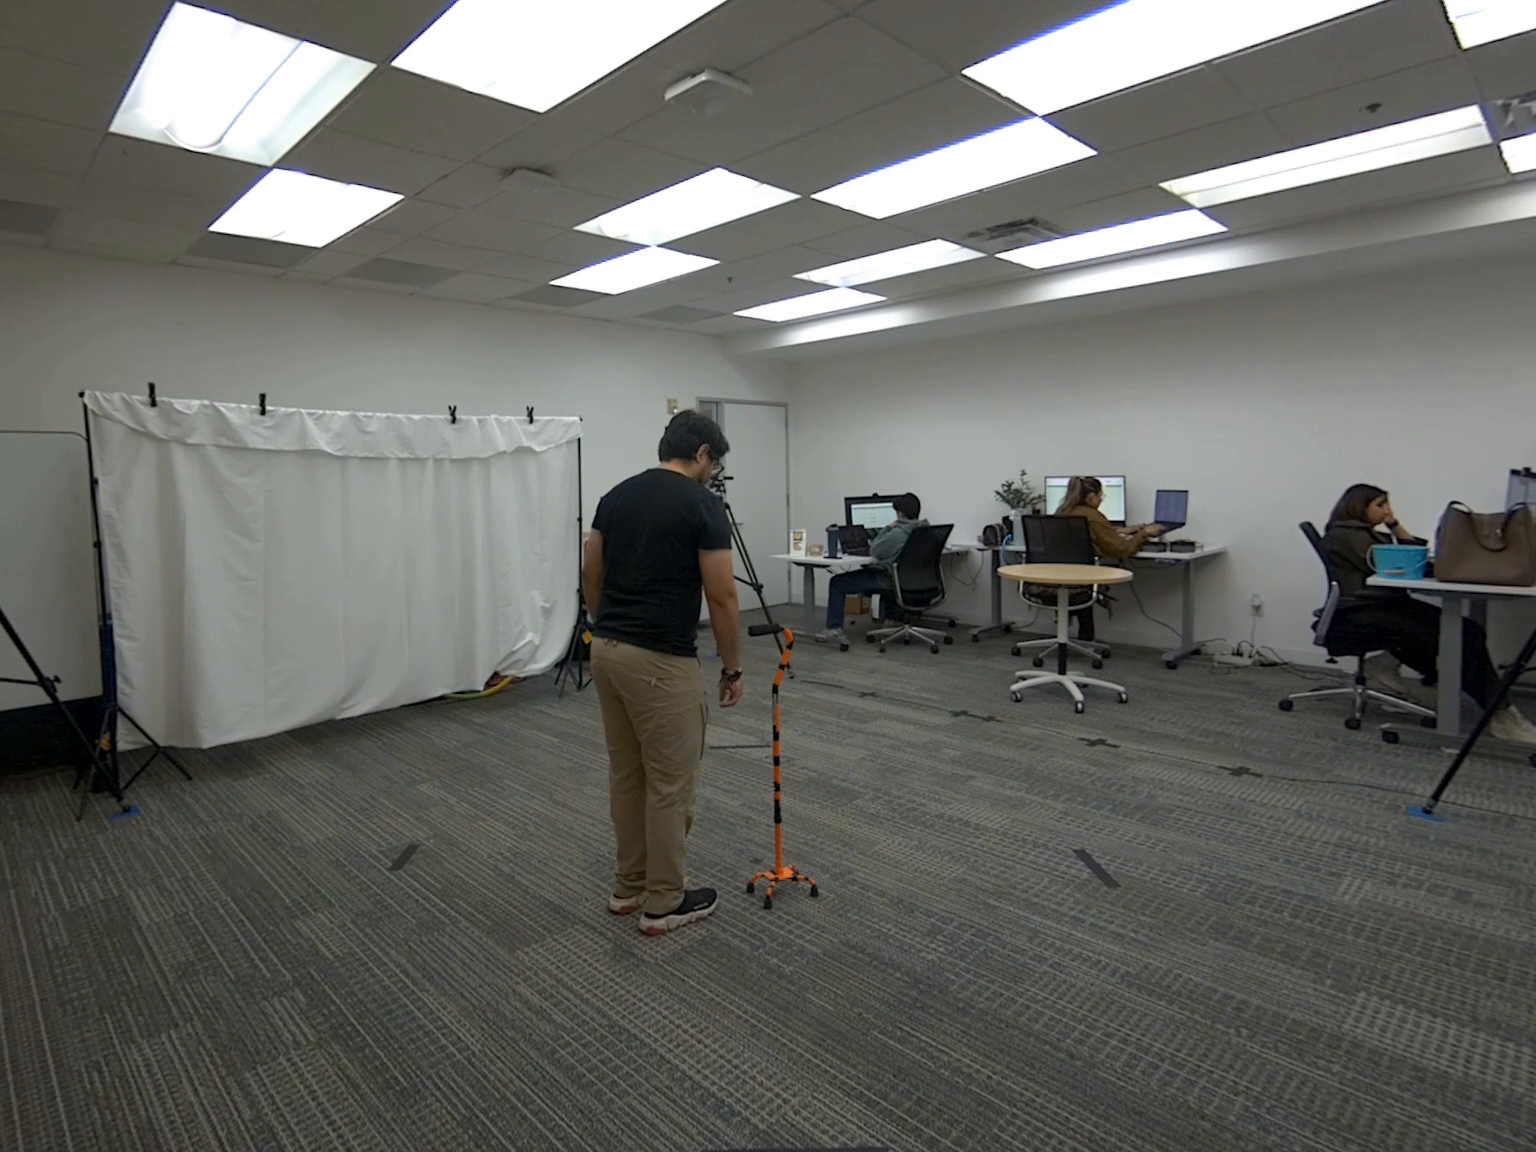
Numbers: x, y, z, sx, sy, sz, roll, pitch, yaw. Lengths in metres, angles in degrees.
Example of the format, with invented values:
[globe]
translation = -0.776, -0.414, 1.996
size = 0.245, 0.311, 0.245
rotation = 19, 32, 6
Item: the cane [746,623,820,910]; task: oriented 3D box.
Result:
[cane]
translation = 0.039, 0.620, 2.831
size = 0.202, 0.904, 0.155
rotation = -3, 4, -25
